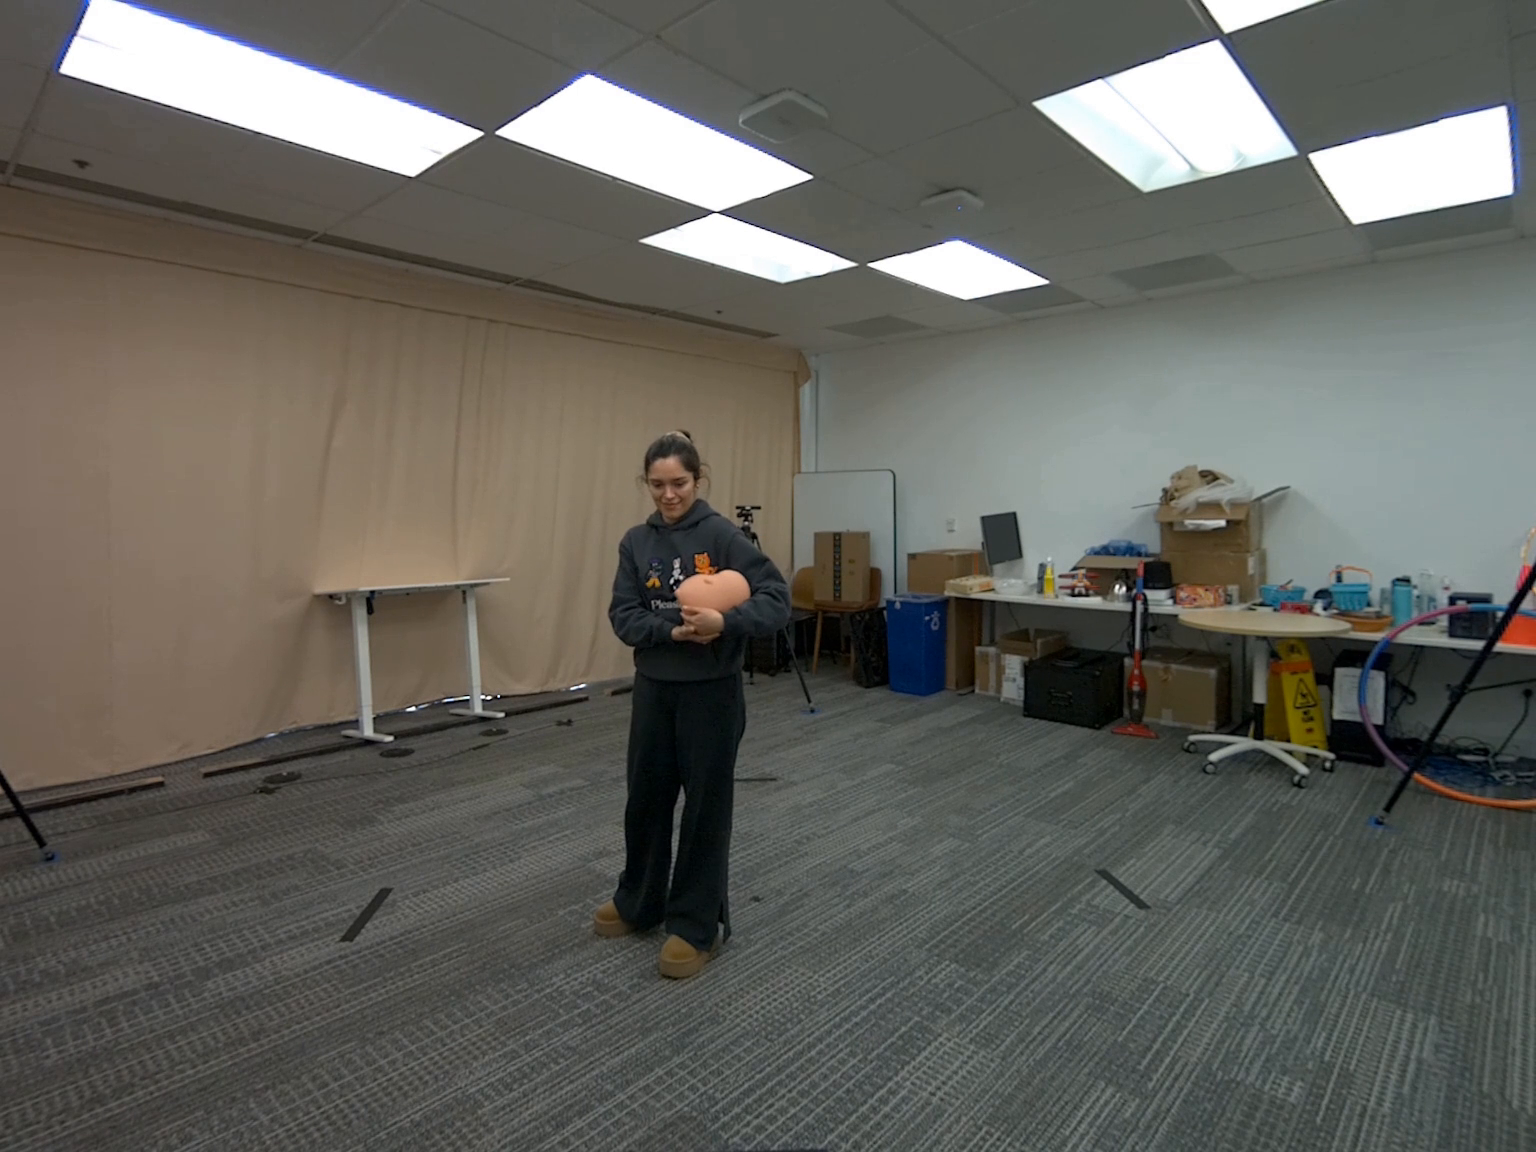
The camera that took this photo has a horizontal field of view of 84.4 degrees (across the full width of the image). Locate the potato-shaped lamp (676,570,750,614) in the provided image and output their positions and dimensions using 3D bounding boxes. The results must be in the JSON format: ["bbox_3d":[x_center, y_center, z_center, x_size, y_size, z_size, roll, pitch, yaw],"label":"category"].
[{"bbox_3d":[-0.144,0.066,2.413,0.198,0.173,0.163,-30,-6,0],"label":"potato-shaped lamp"}]
